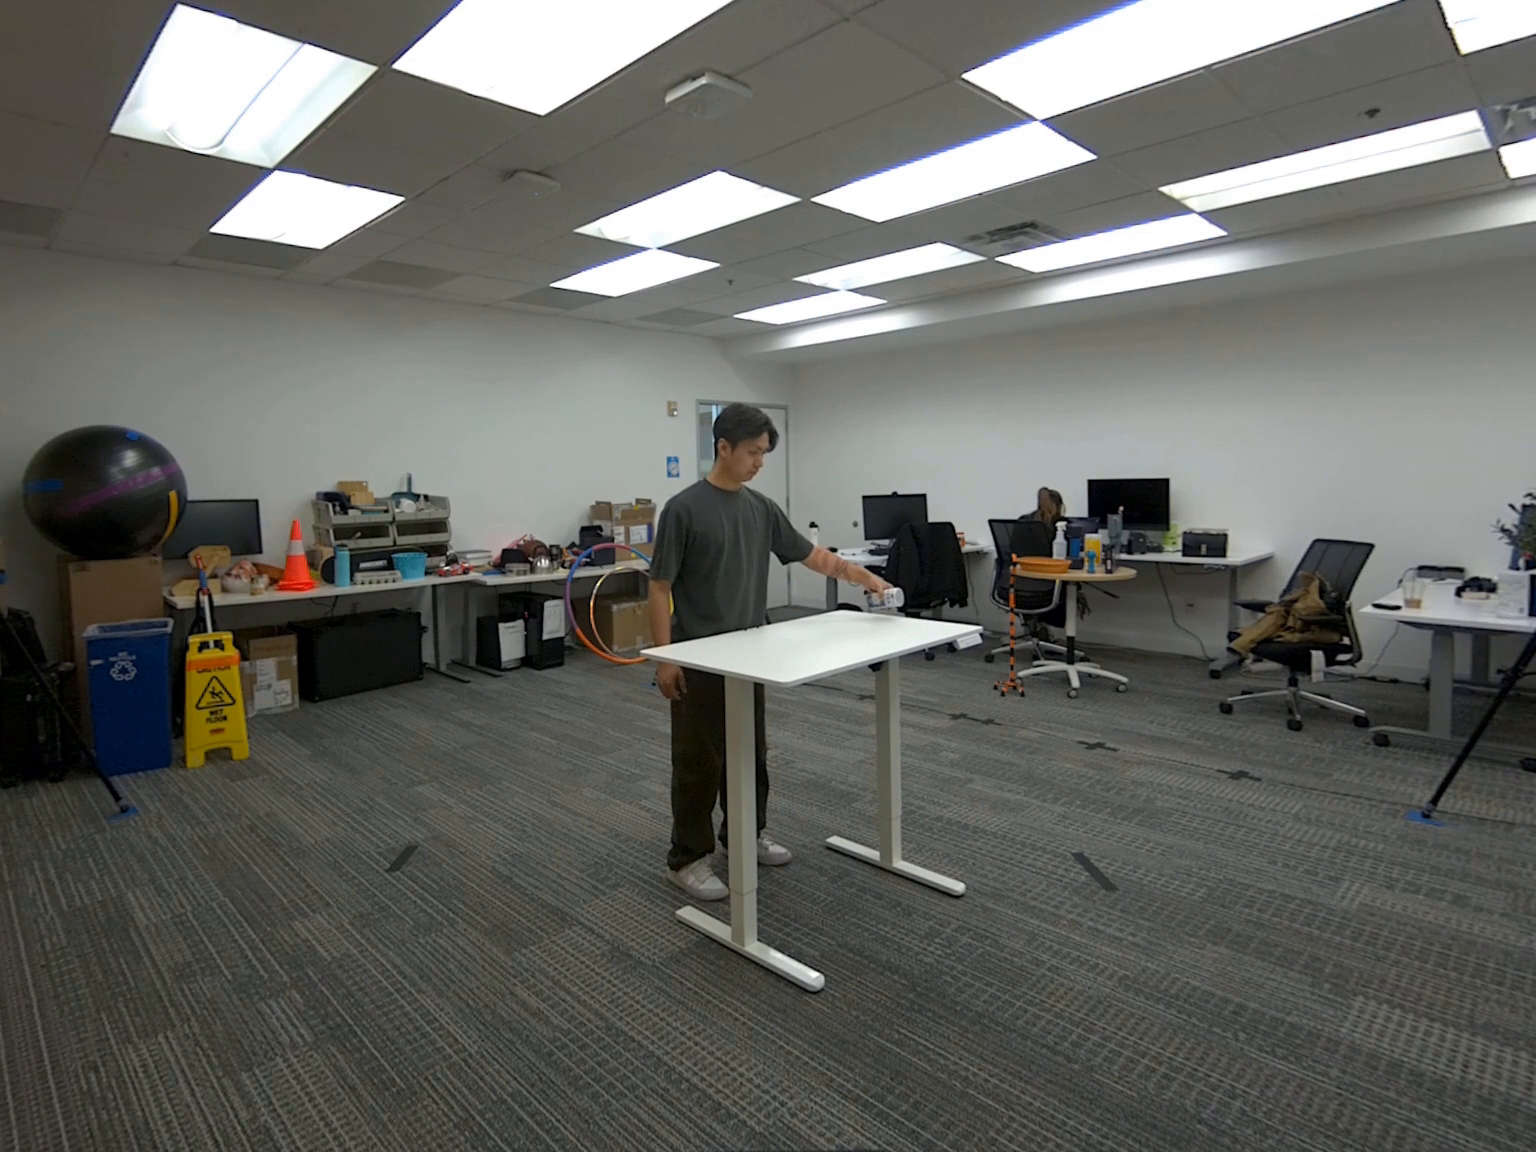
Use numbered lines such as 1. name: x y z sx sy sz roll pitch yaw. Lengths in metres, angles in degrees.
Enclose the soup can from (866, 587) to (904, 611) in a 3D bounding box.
1. soup can: 0.405 0.081 3.065 0.123 0.067 0.066 -5 3 20
